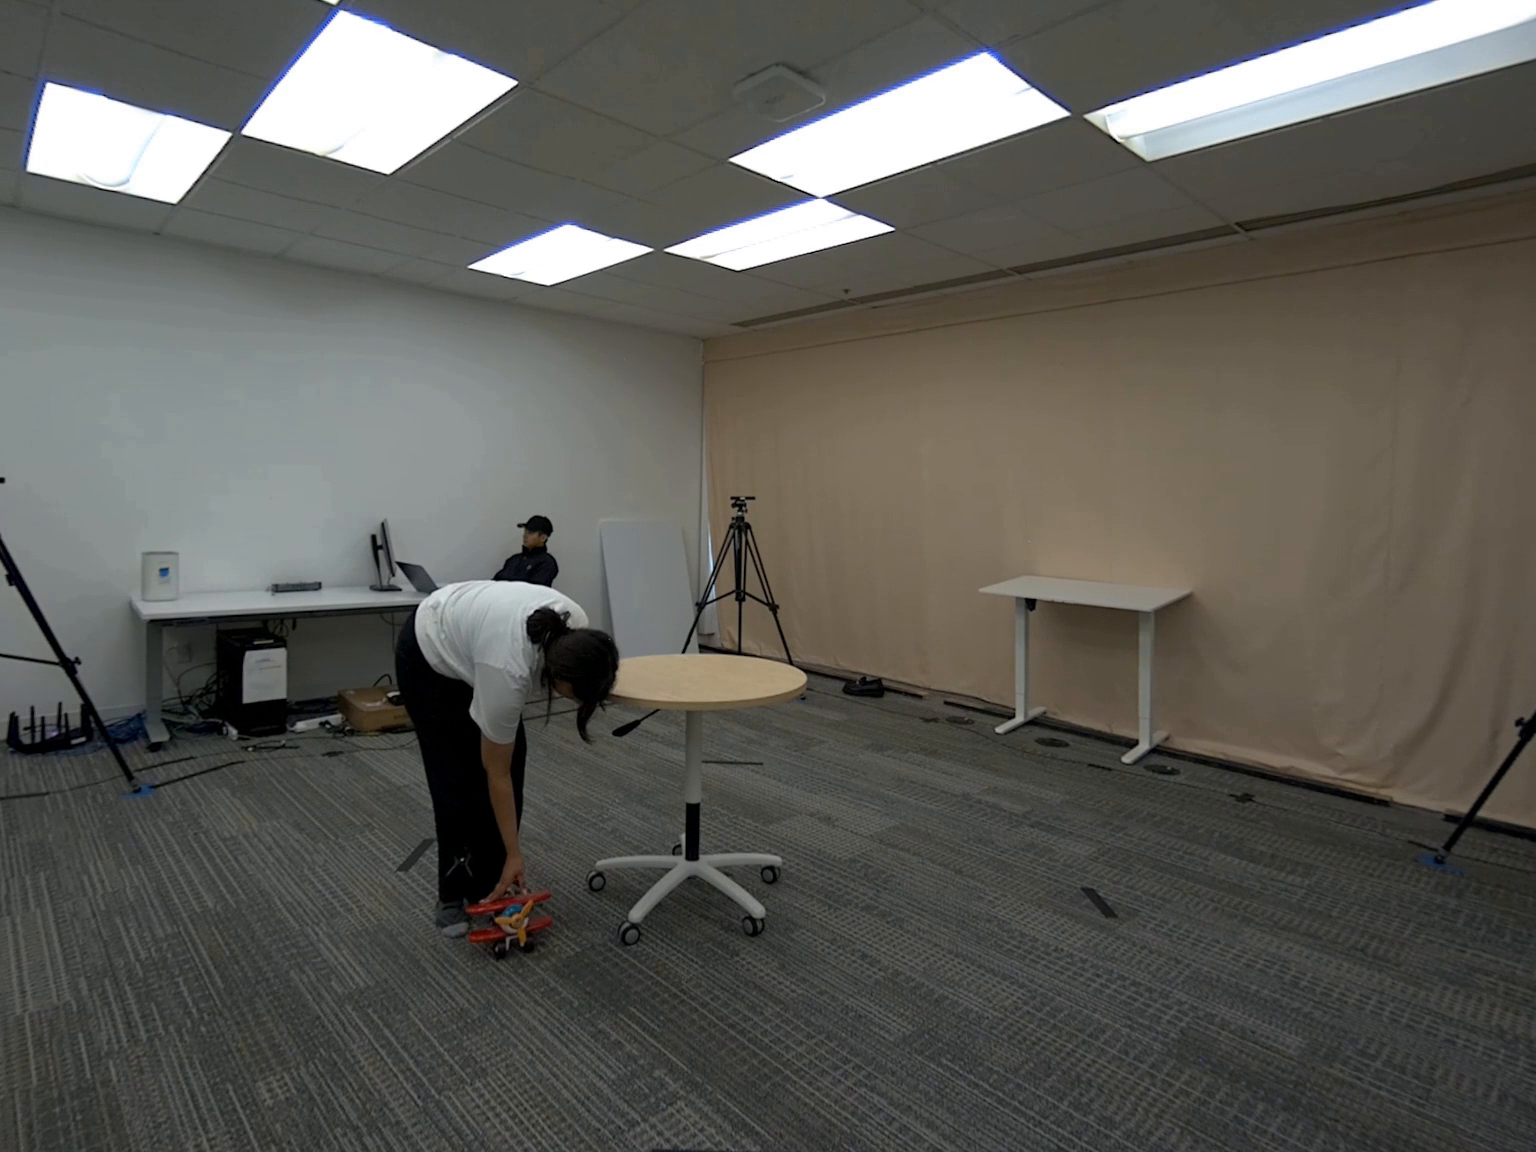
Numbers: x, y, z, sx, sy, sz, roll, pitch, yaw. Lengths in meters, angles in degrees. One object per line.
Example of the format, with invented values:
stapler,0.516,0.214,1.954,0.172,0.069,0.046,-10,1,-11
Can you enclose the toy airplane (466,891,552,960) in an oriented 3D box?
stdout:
toy airplane,-0.831,1.065,2.596,0.265,0.156,0.246,6,8,33
